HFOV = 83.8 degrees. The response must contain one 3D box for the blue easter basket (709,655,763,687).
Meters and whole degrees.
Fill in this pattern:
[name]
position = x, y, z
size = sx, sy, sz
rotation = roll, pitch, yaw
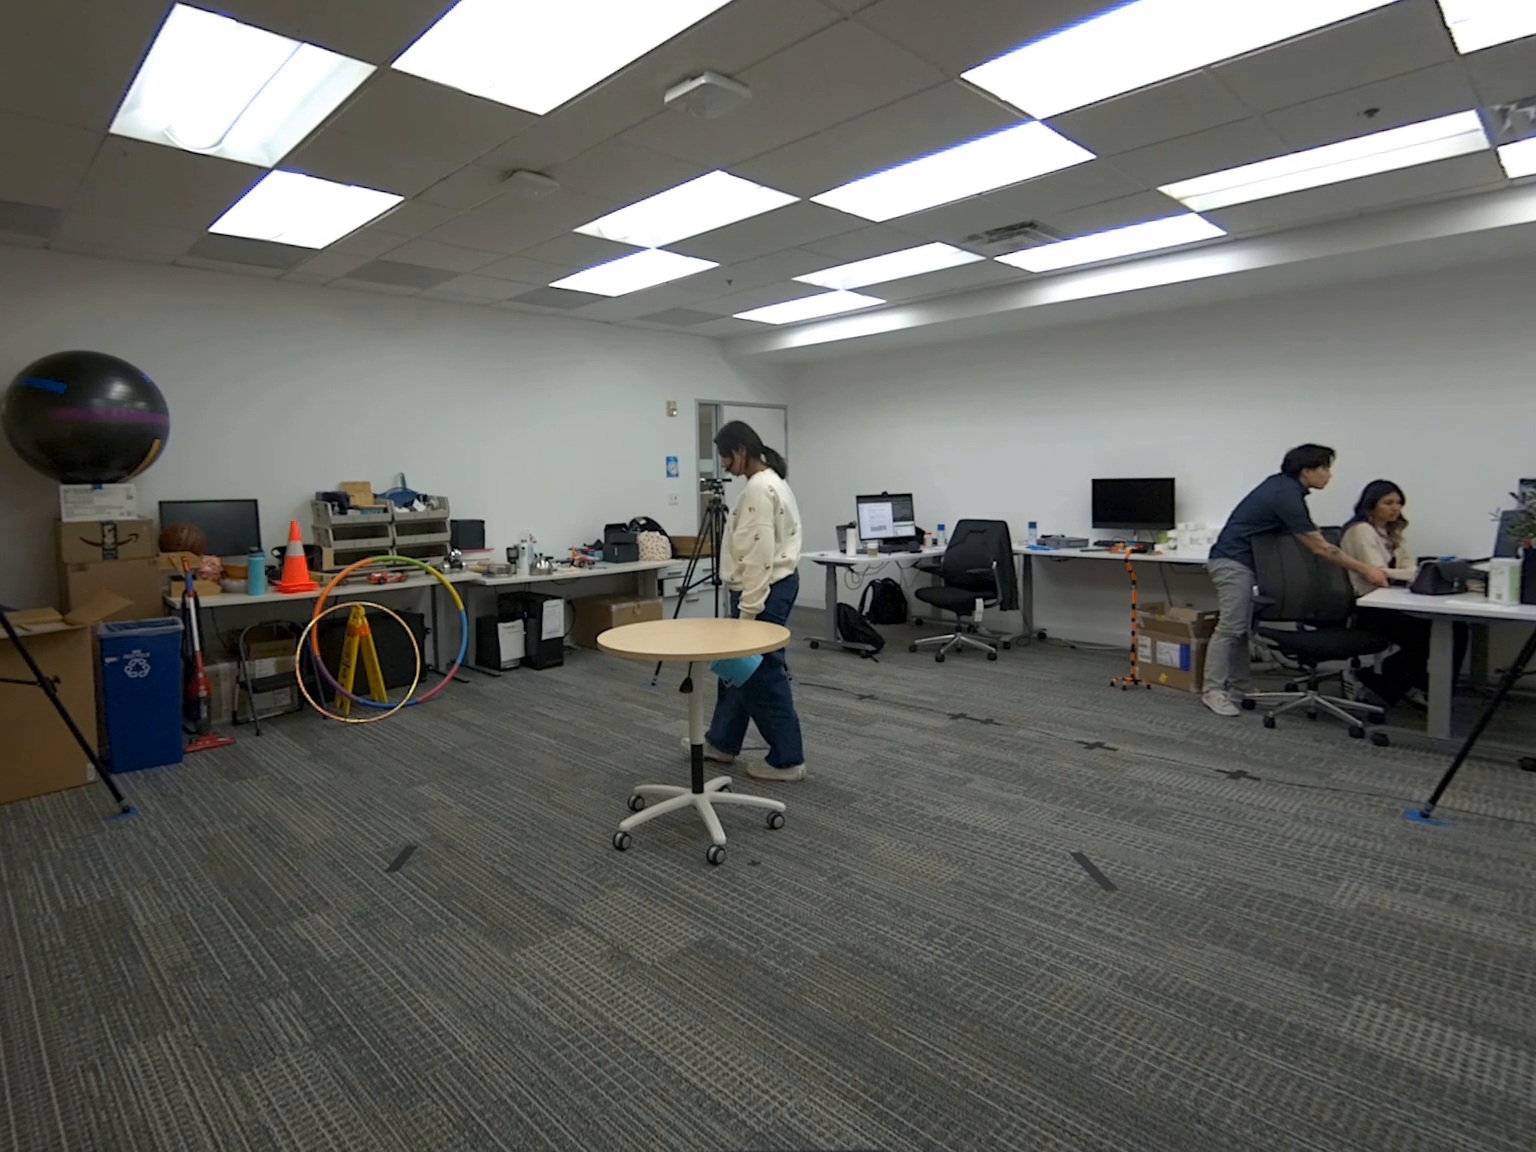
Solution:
[blue easter basket]
position = -0.144, 0.391, 3.859
size = 0.156, 0.243, 0.244
rotation = 42, 6, -2
